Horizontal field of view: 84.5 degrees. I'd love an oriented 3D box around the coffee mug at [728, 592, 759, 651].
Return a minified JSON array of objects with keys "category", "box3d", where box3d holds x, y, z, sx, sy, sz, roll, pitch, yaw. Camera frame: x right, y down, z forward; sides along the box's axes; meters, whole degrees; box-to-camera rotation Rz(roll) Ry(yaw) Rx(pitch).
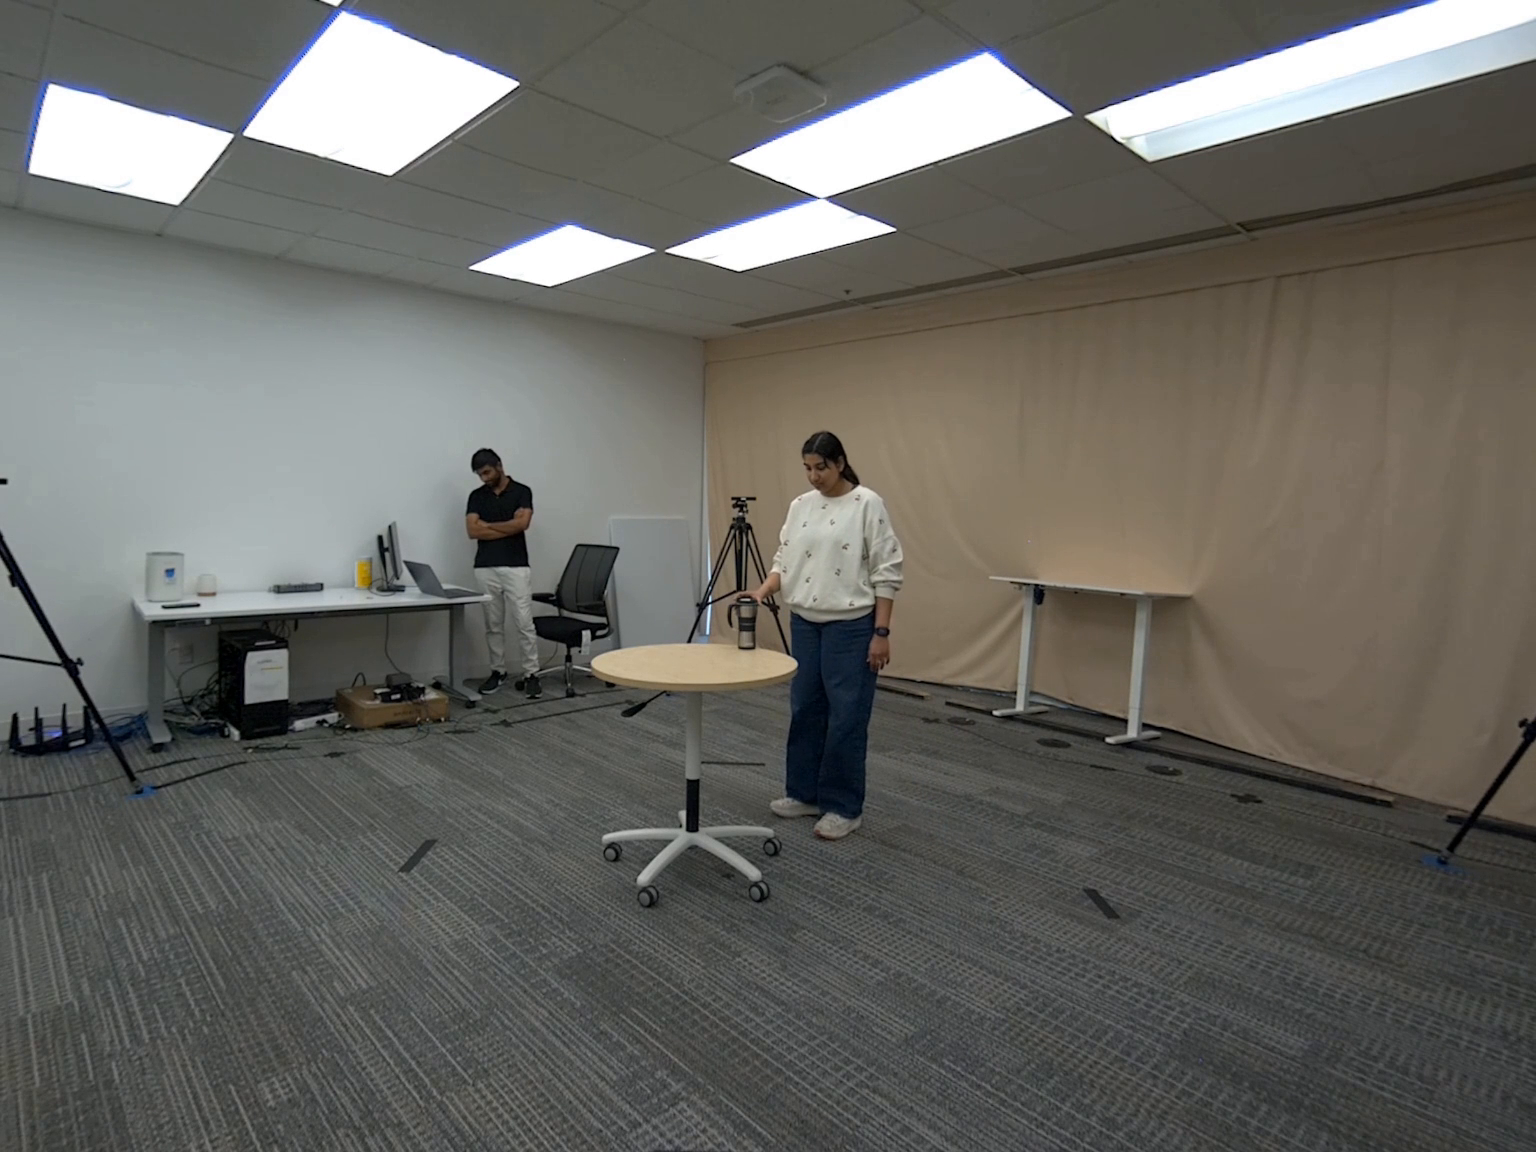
[{"category":"coffee mug","box3d":[-0.117,0.194,3.416,0.122,0.202,0.088,3,5,-2]}]
